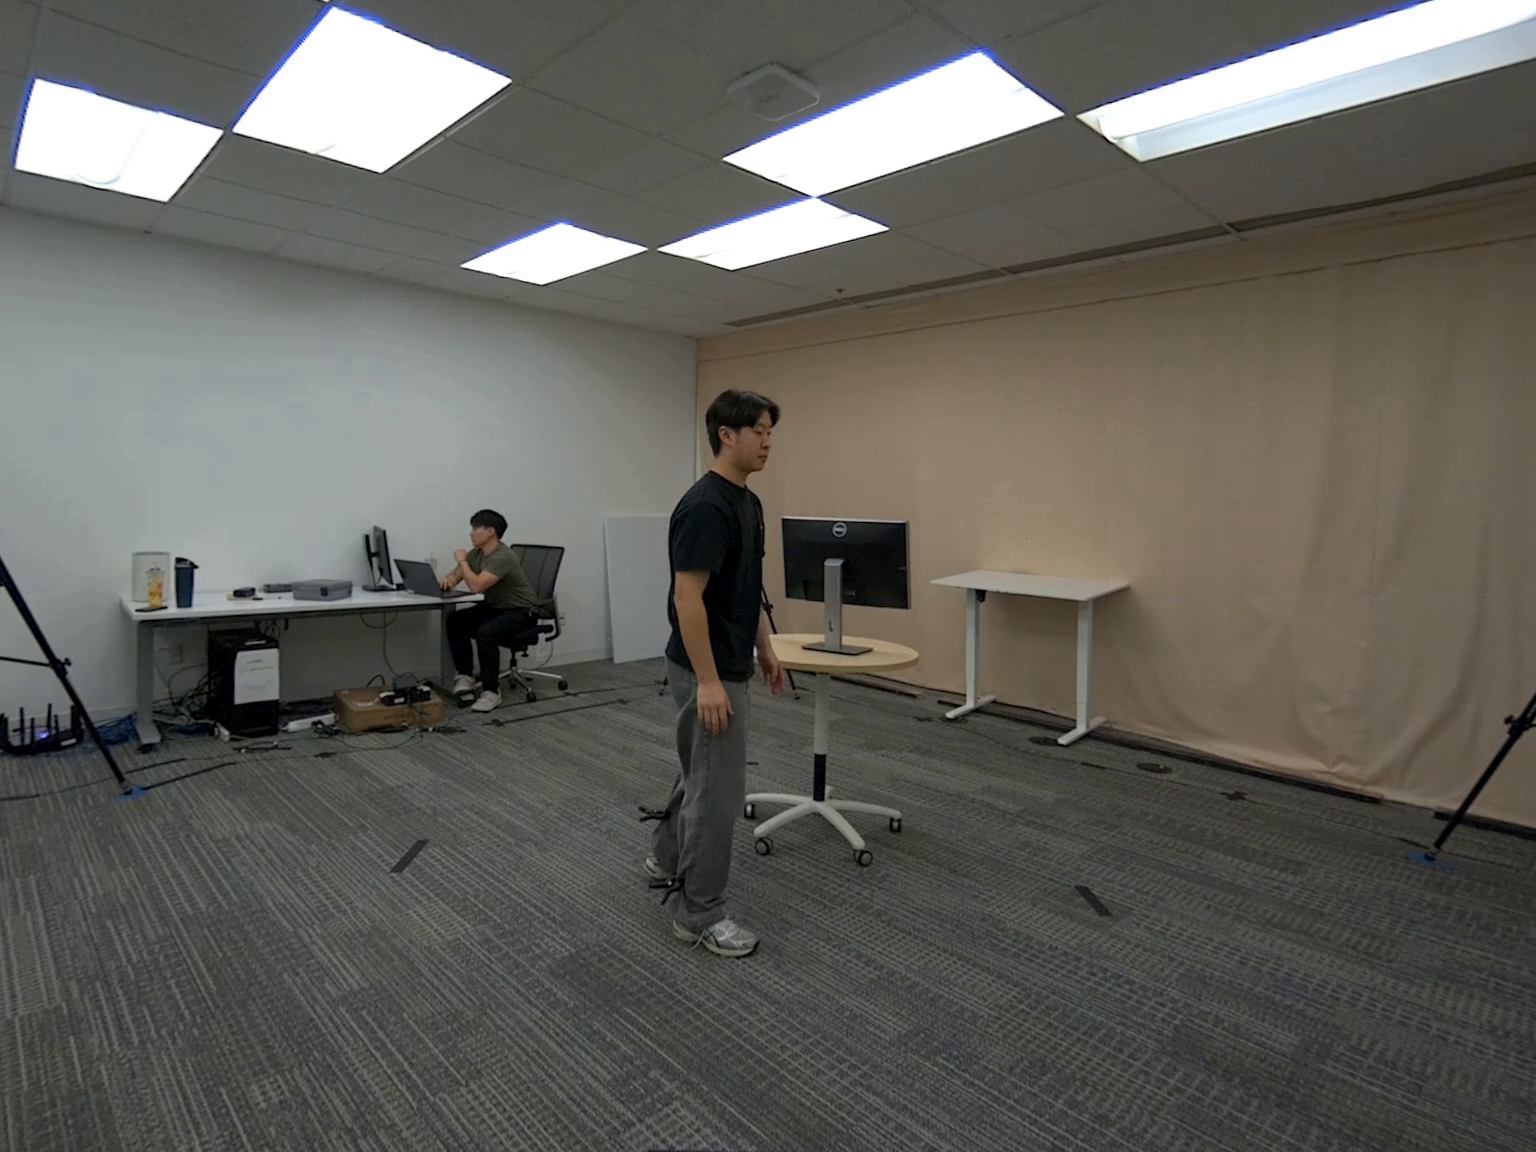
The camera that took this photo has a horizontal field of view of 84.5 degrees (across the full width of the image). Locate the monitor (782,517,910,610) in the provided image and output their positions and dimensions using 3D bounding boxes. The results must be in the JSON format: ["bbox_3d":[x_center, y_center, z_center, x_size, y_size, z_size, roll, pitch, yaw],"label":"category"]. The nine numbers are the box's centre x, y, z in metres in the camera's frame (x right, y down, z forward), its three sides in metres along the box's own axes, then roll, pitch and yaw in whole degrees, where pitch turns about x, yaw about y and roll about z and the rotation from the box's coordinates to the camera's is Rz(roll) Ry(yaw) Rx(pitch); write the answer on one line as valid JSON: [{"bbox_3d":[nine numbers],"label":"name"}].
[{"bbox_3d":[0.293,0.045,3.461,0.575,0.566,0.217,4,0,33],"label":"monitor"}]
